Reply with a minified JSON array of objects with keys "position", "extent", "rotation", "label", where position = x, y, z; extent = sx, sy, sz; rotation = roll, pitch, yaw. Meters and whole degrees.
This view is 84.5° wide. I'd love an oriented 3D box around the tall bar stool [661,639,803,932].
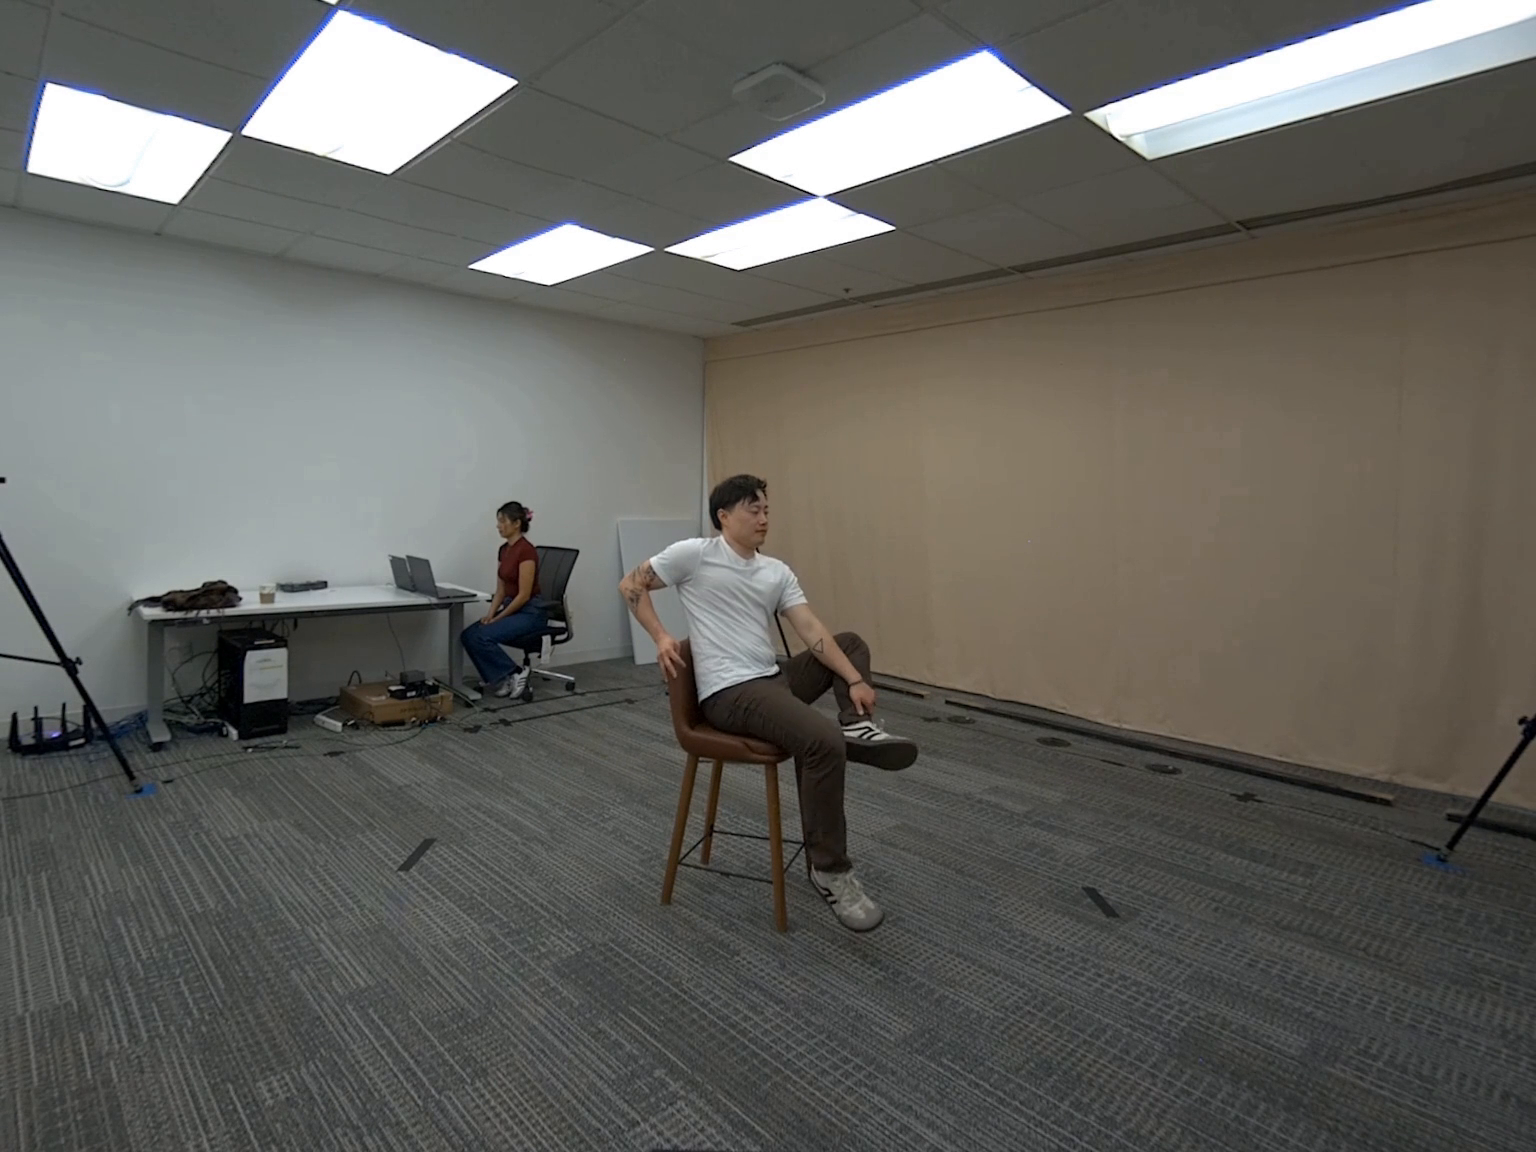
[{"position":[-0.104,0.685,2.945],"extent":[0.475,0.888,0.450],"rotation":[0,3,21],"label":"tall bar stool"}]
